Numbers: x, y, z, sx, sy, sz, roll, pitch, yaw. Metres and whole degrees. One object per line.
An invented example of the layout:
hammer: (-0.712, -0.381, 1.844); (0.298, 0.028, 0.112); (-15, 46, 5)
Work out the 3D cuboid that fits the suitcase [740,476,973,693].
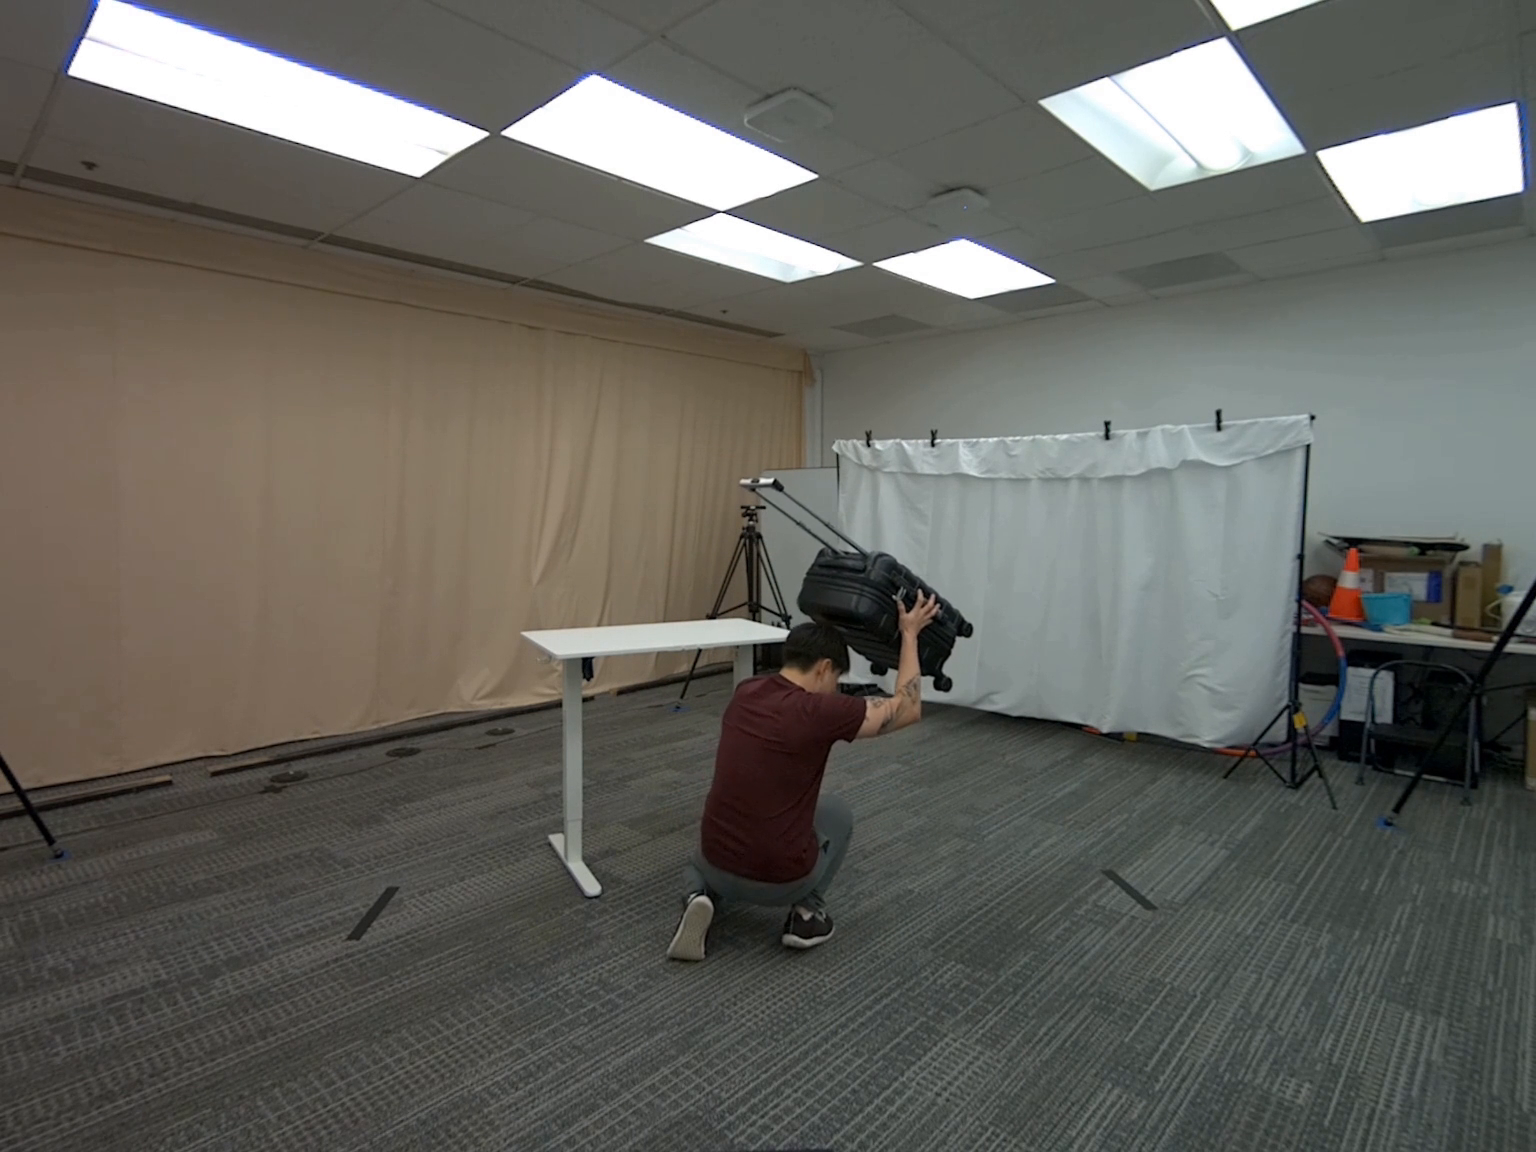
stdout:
suitcase: (0.258, 0.033, 2.758); (0.946, 0.257, 0.397); (34, -15, -34)
